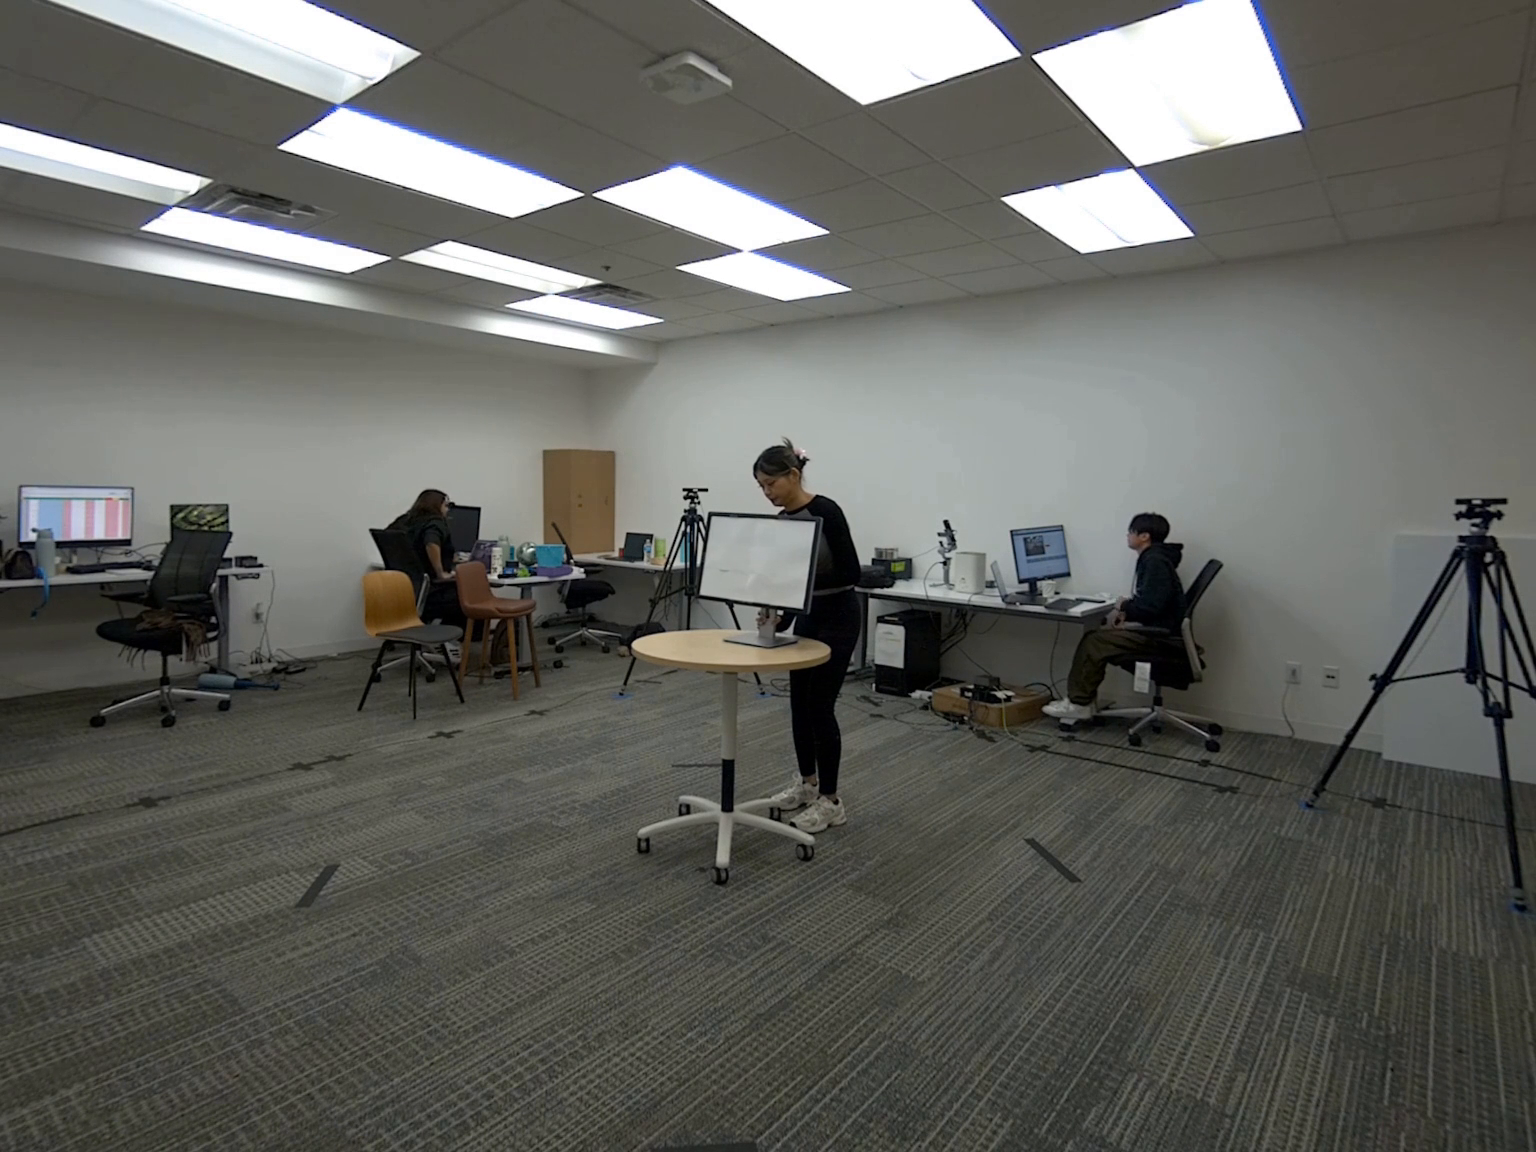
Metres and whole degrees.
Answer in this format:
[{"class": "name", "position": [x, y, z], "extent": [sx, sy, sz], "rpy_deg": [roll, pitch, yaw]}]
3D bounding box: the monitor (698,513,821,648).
[{"class": "monitor", "position": [-0.031, 0.014, 3.376], "extent": [0.557, 0.520, 0.182], "rpy_deg": [4, 6, 38]}]
